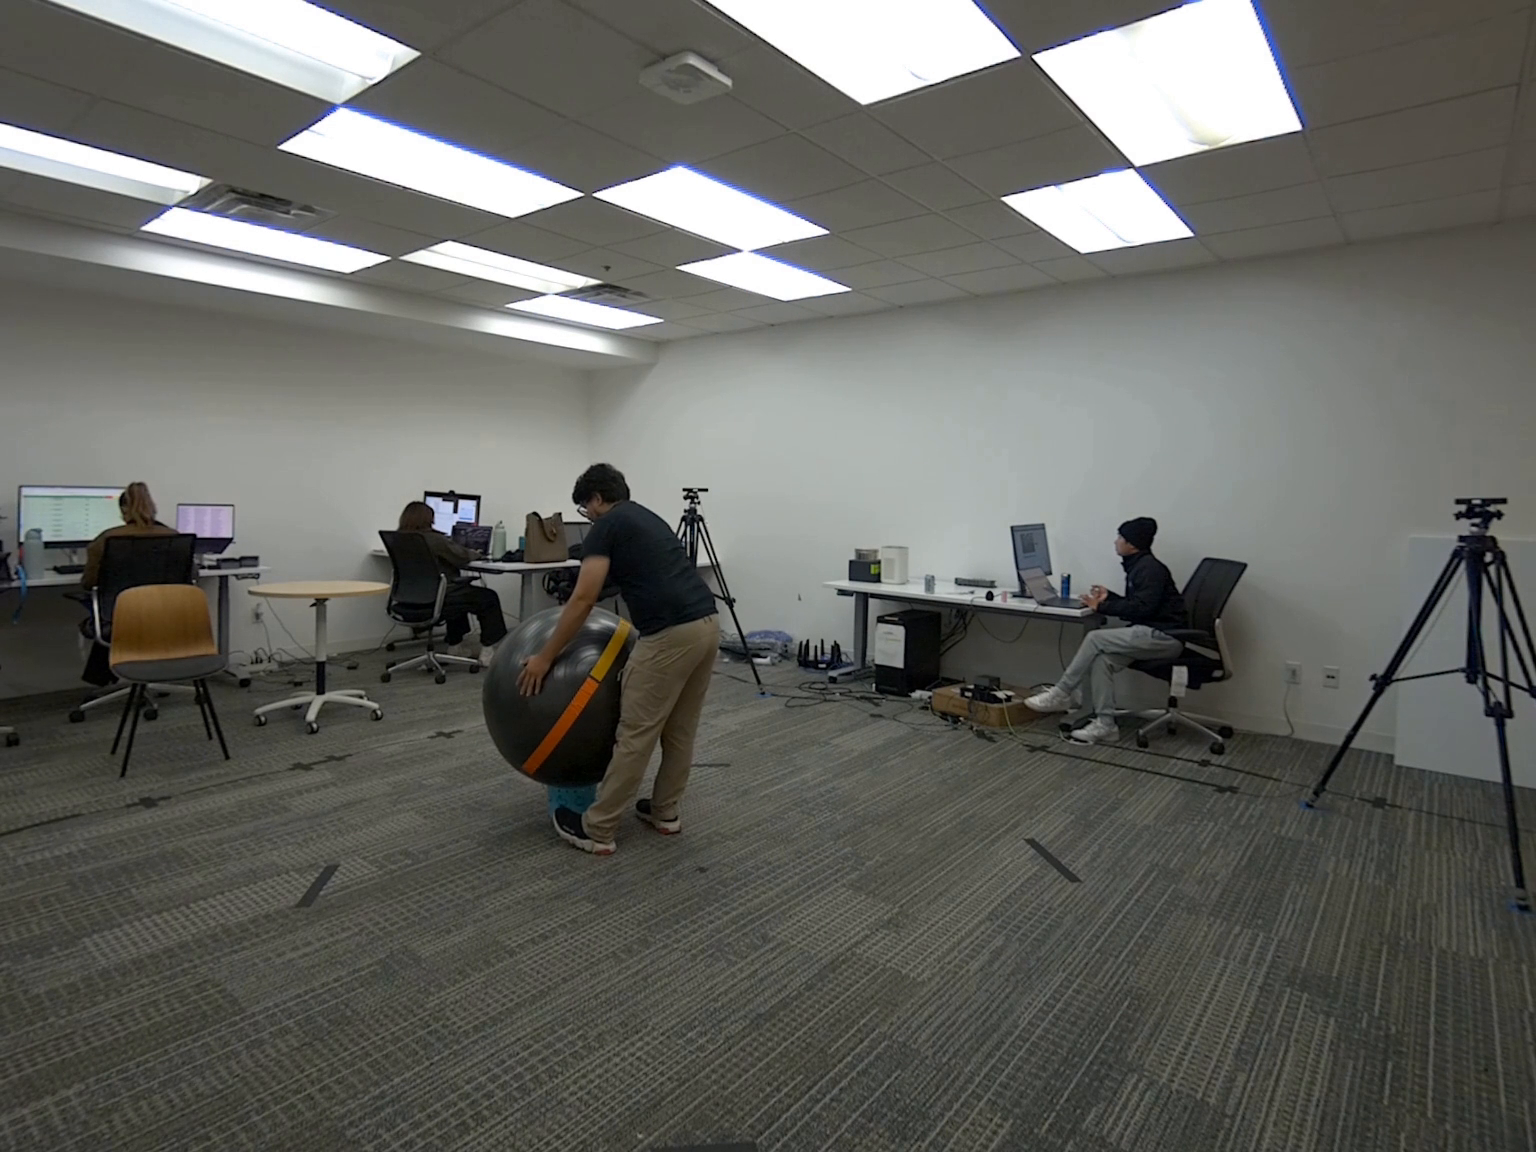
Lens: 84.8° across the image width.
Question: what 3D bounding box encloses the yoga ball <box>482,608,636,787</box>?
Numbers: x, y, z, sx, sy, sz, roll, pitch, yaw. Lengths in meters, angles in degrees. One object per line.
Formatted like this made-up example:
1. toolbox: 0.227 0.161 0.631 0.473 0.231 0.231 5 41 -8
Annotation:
1. yoga ball: -0.833 0.503 3.605 0.757 0.756 0.762 1 4 -2
